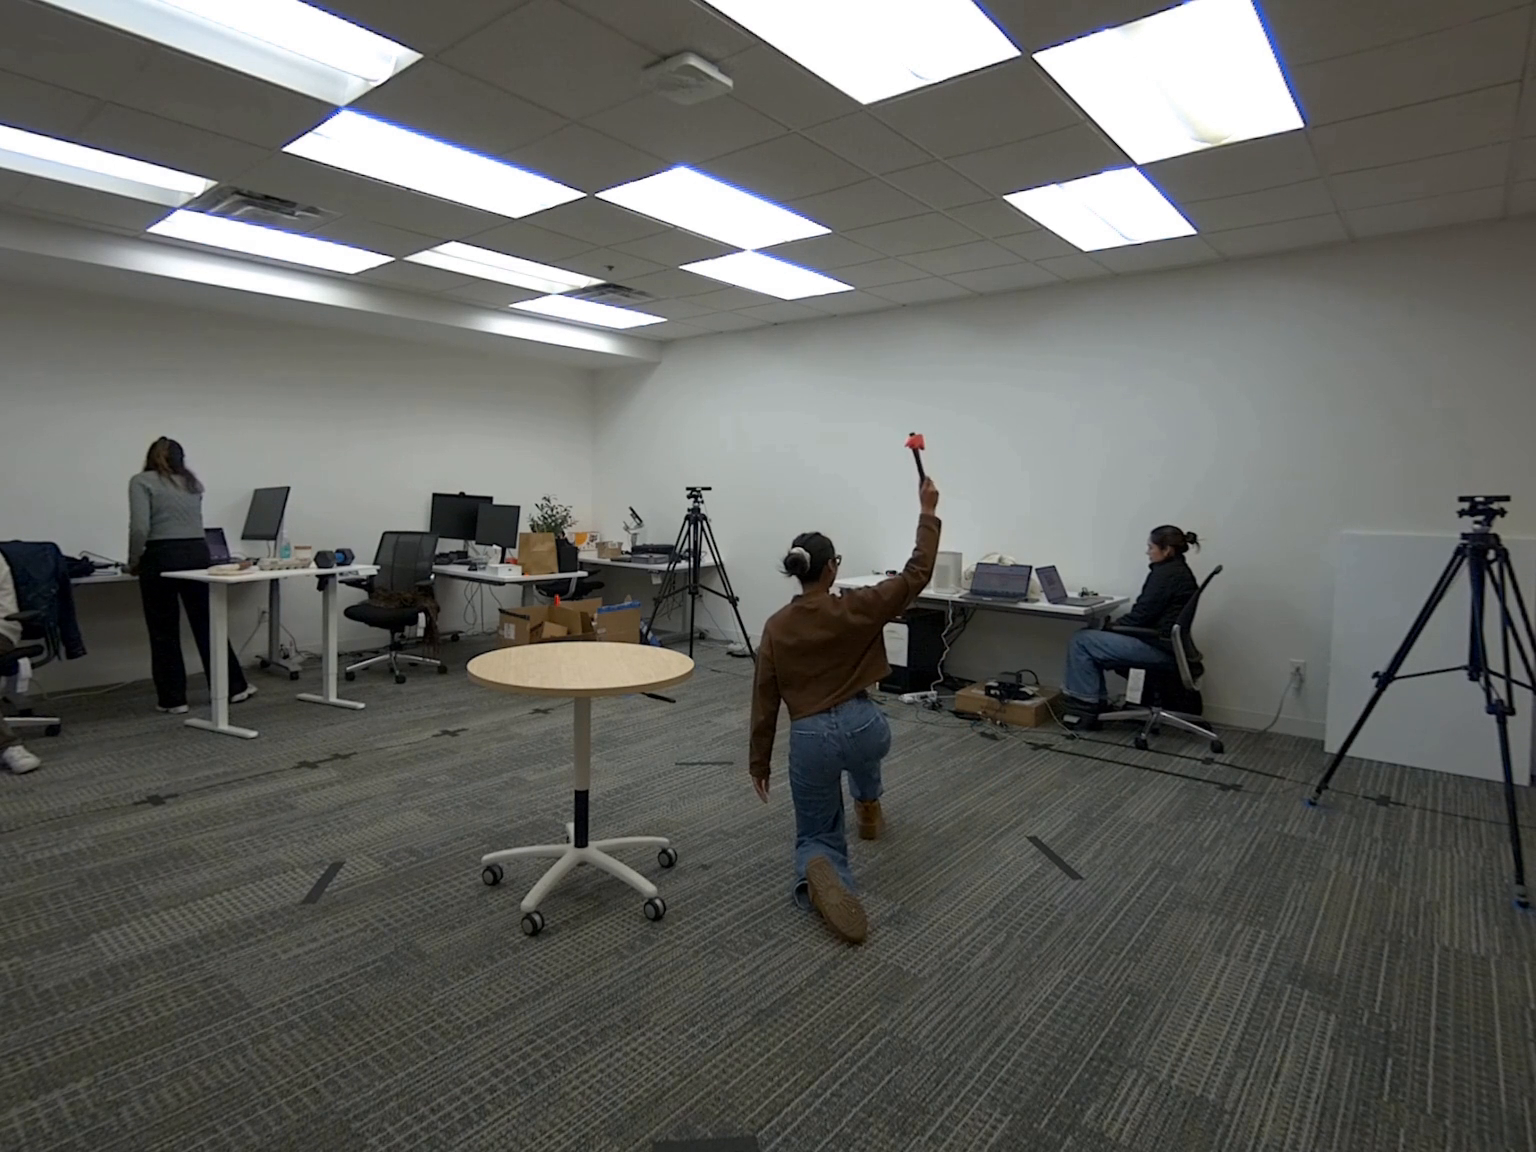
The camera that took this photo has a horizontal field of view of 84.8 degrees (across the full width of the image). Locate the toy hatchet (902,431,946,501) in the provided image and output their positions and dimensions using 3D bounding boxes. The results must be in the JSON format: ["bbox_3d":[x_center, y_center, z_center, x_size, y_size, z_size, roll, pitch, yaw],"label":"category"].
[{"bbox_3d":[0.585,-0.395,3.150,0.030,0.261,0.131,-5,36,39],"label":"toy hatchet"}]
